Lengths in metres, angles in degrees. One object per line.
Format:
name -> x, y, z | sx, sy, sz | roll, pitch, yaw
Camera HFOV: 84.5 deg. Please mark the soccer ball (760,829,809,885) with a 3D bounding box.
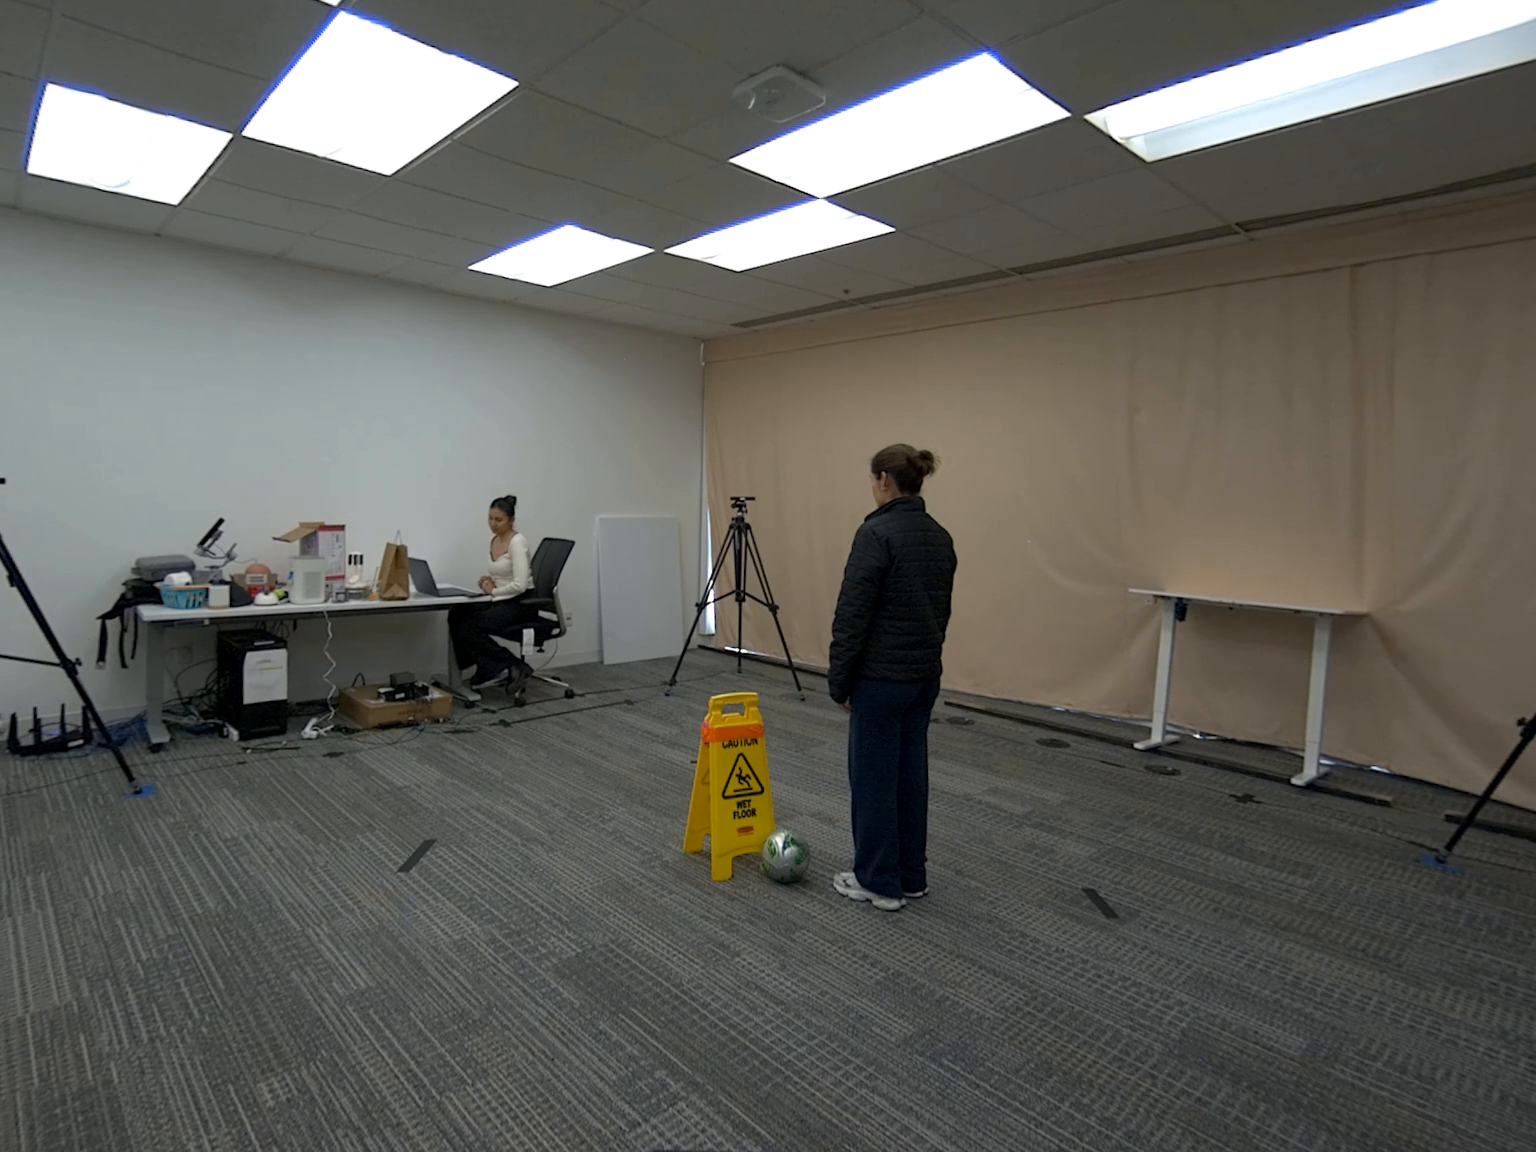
soccer ball -> 0.065, 1.012, 3.072 | 0.187, 0.187, 0.188 | 1, 4, -1
